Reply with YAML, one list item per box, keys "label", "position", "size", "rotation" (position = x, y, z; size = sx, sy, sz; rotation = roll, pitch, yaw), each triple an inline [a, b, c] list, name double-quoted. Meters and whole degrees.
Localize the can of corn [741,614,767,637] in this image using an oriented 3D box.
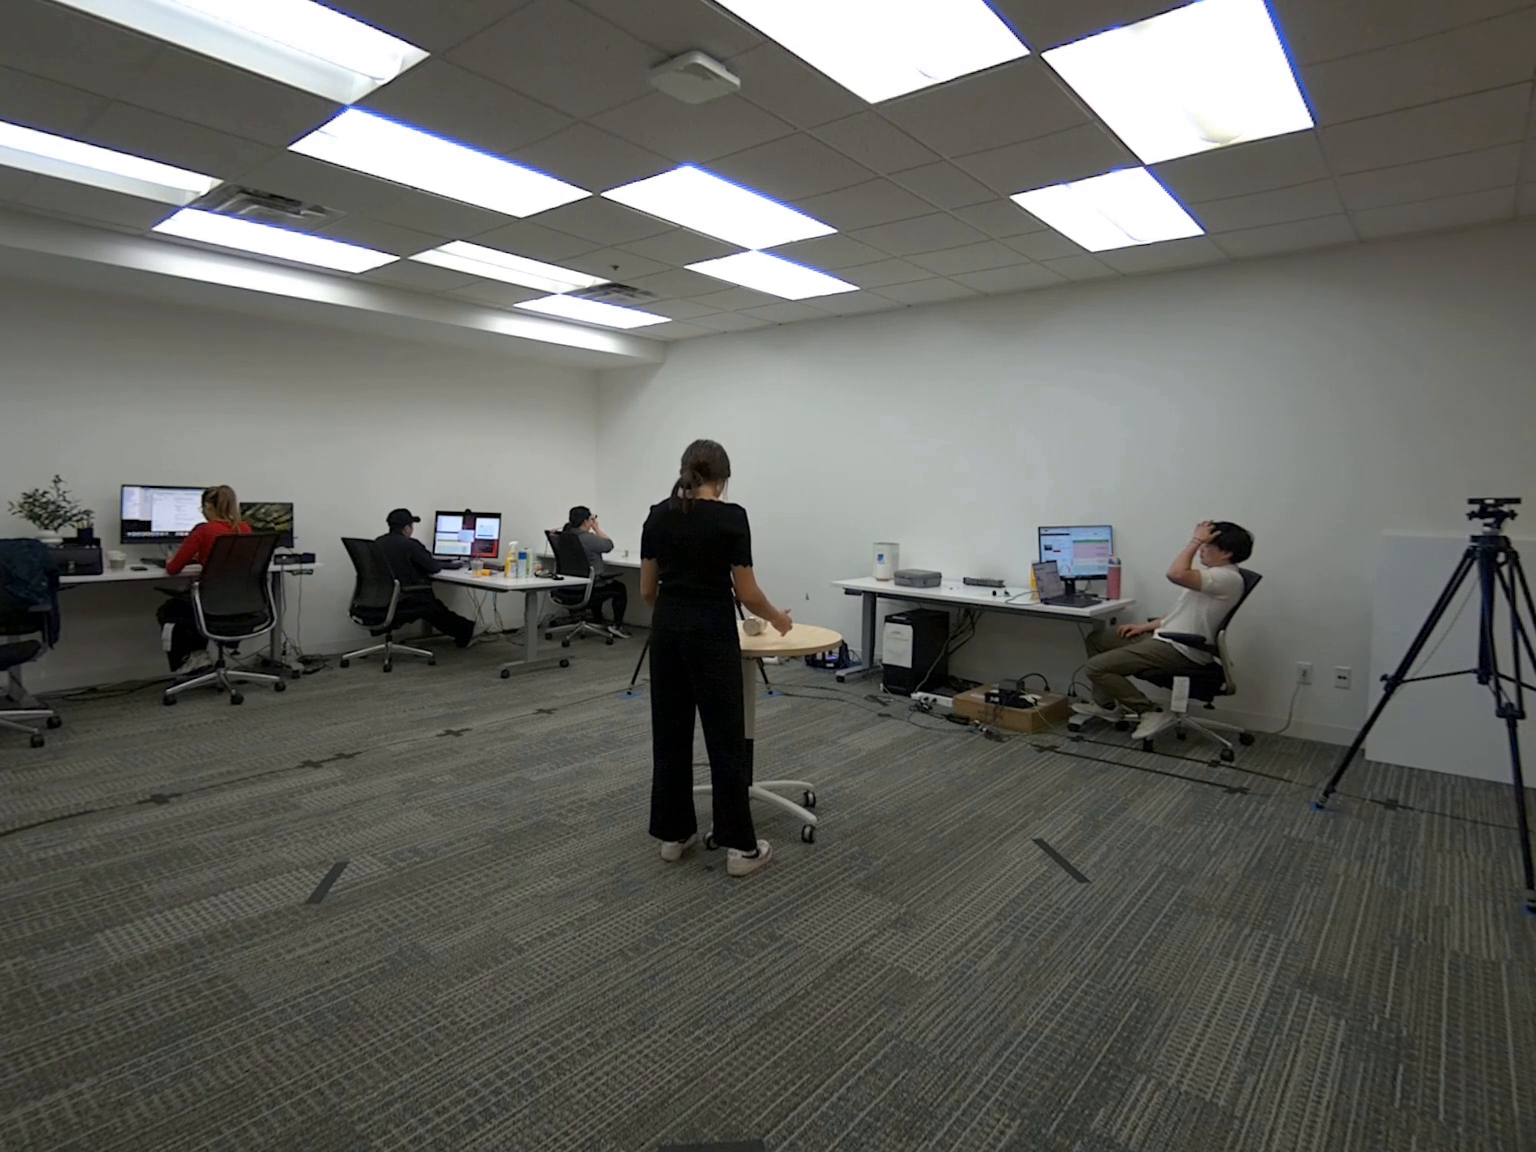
- label: "can of corn"
  position: [-0.050, 0.204, 3.585]
  size: [0.073, 0.074, 0.113]
  rotation: [0, 7, -12]
